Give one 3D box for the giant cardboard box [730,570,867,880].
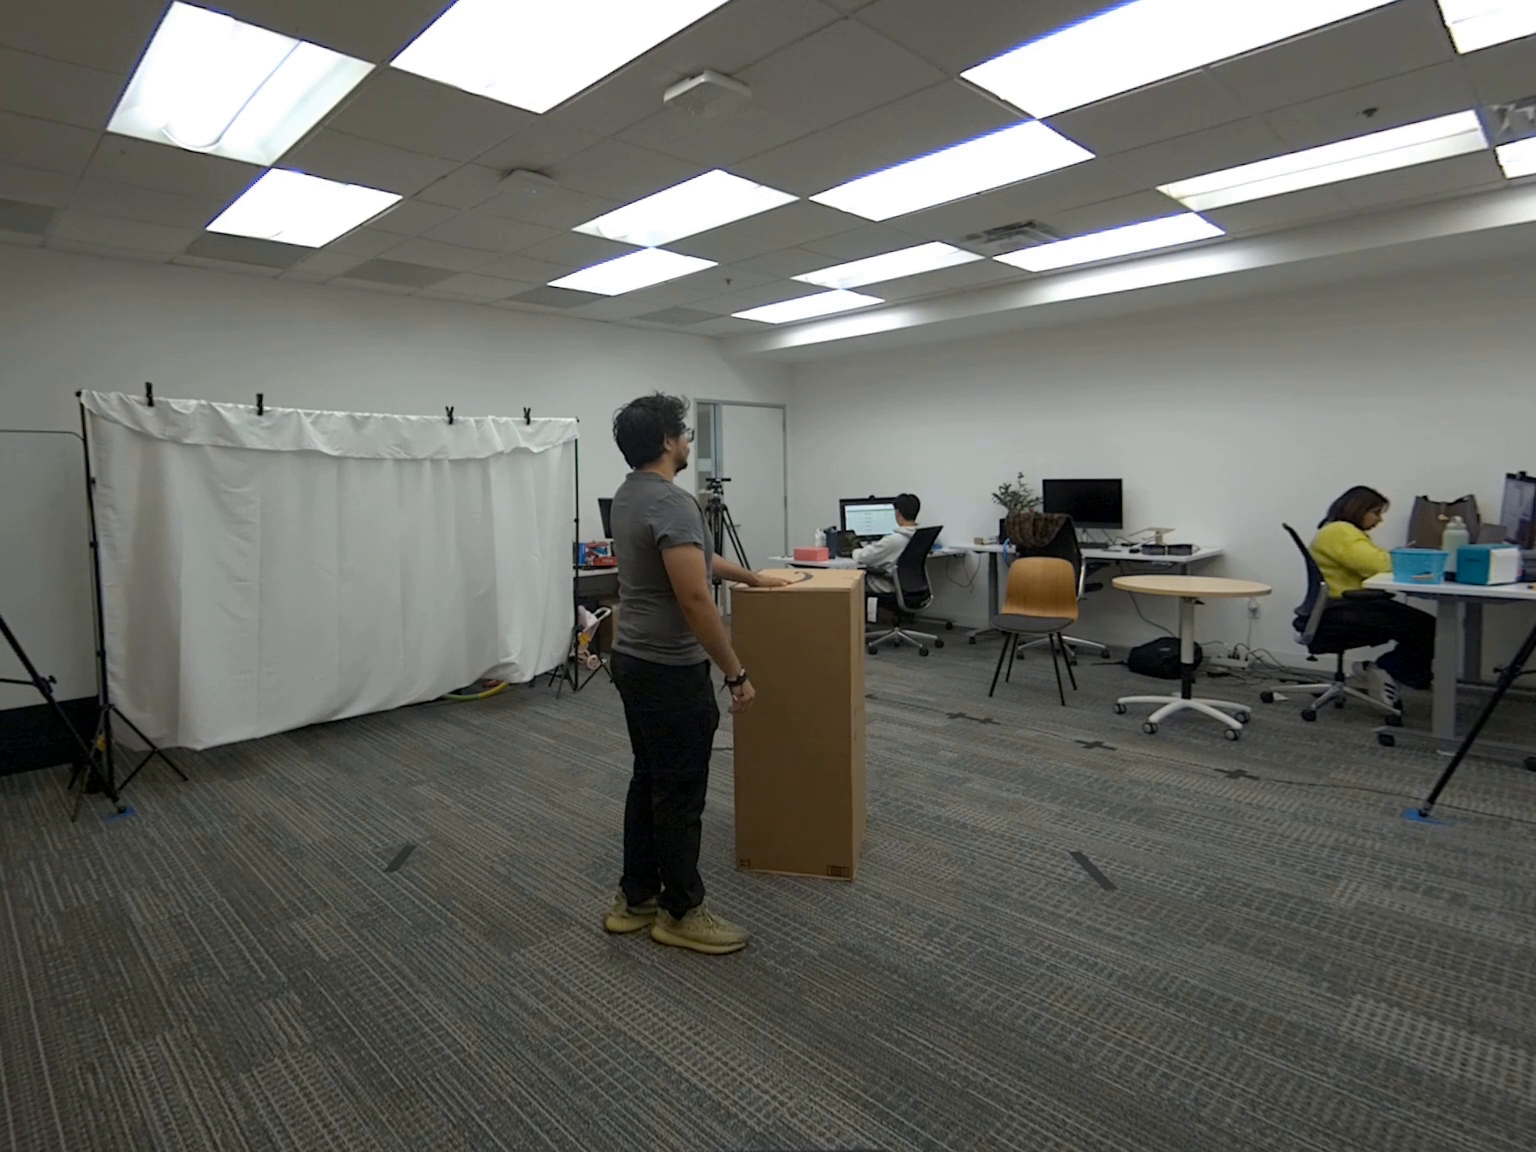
[{"bbox_3d":[0.130,0.513,3.238,0.432,1.021,0.572,0,5,12],"label":"giant cardboard box"}]
